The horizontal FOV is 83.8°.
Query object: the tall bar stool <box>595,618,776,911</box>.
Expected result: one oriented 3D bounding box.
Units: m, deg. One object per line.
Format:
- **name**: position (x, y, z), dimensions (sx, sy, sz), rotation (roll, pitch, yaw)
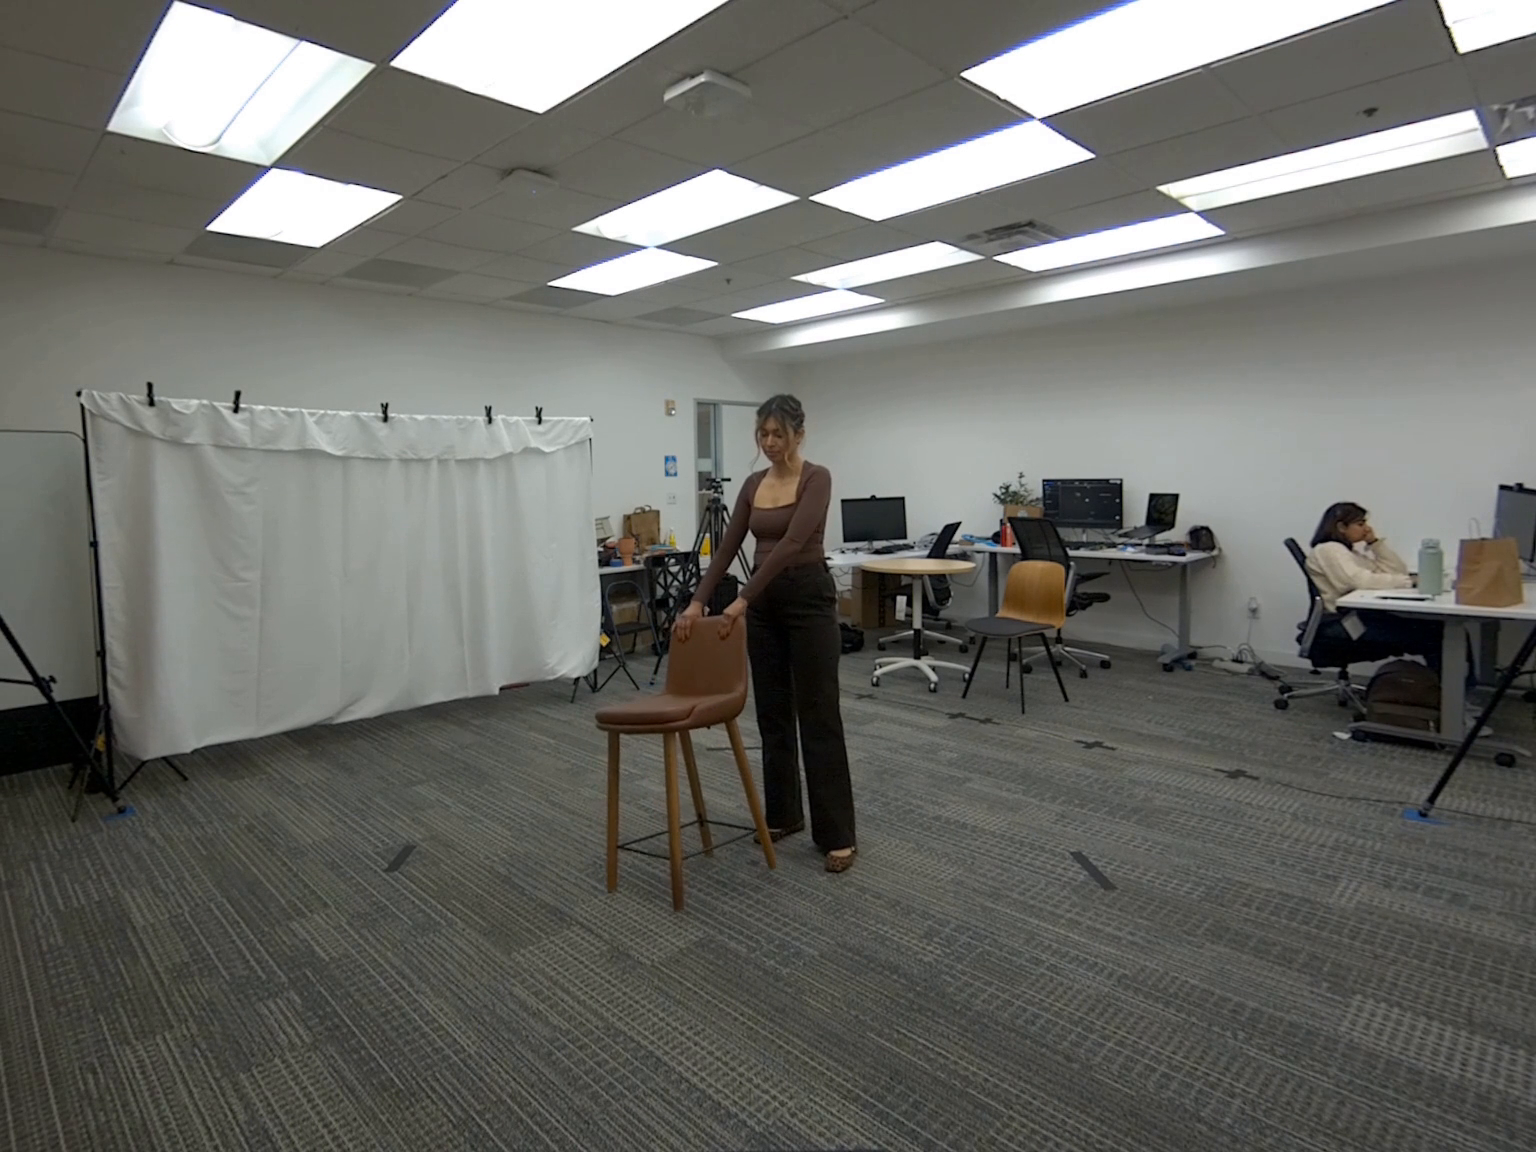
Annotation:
- **tall bar stool**: position (-0.299, 0.600, 2.947), dimensions (0.454, 0.895, 0.467), rotation (-2, -7, -42)
